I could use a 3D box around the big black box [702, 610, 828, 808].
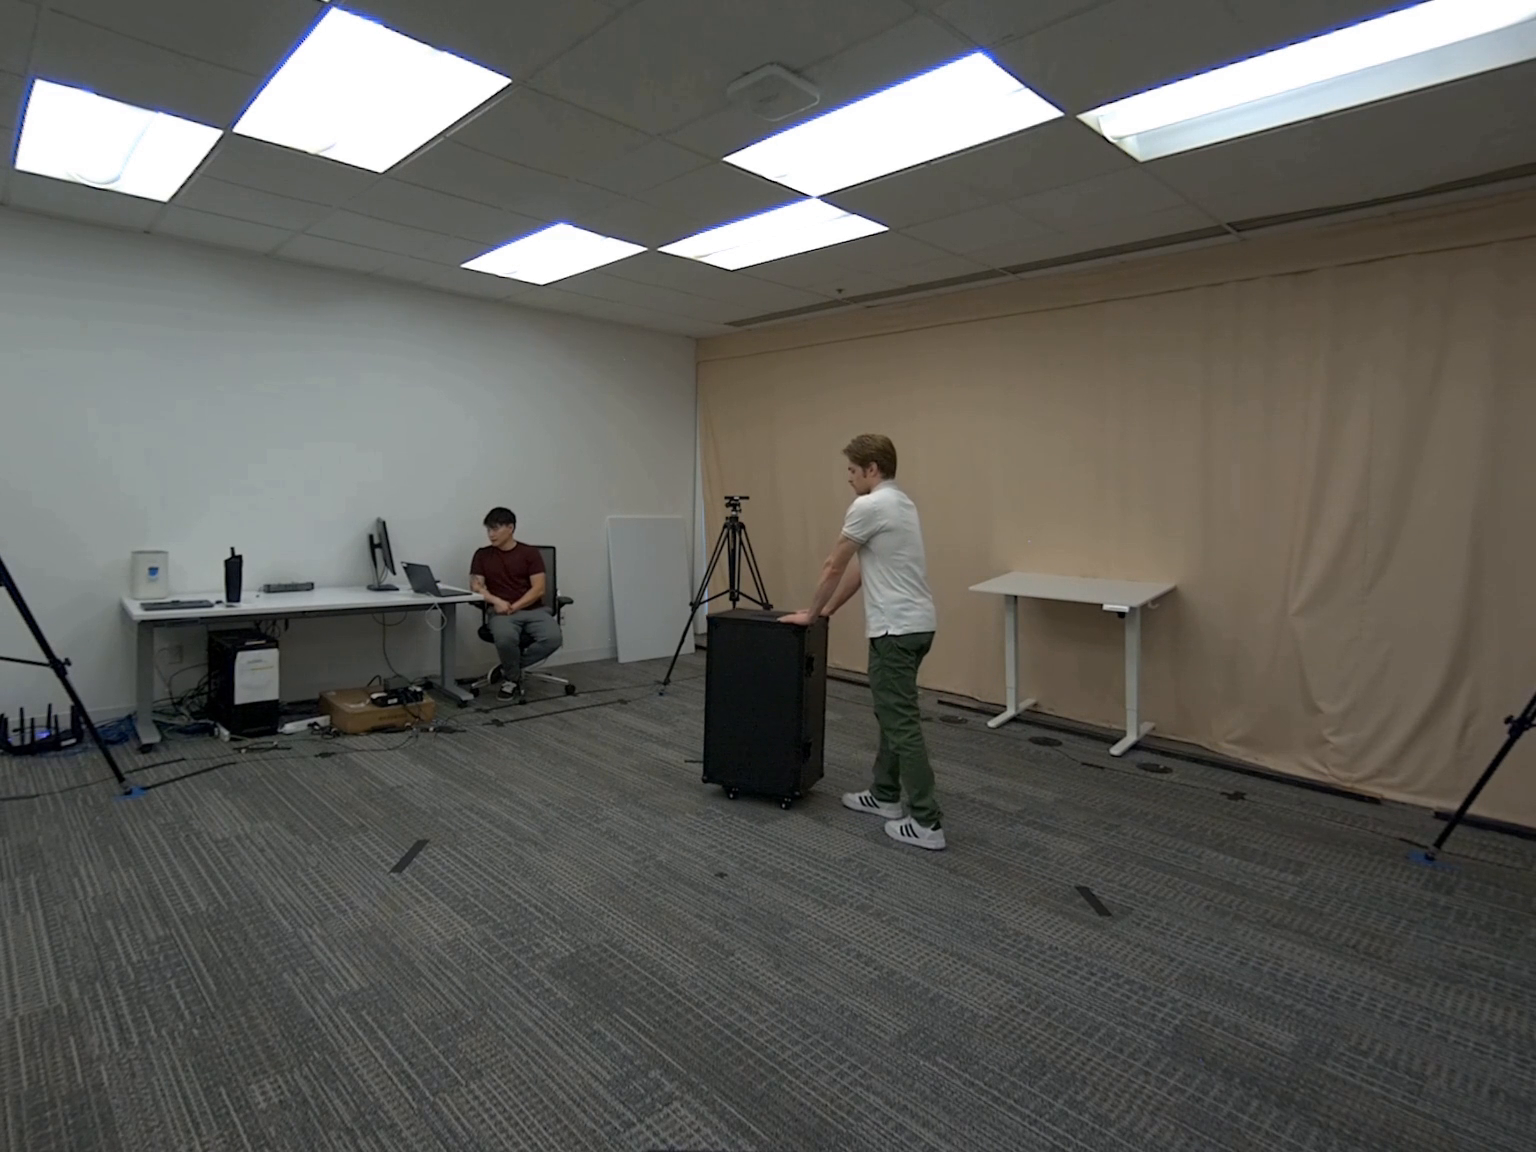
[{"bbox_3d":[-0.015,0.611,3.959,0.532,0.866,0.380,3,3,20],"label":"big black box"}]
